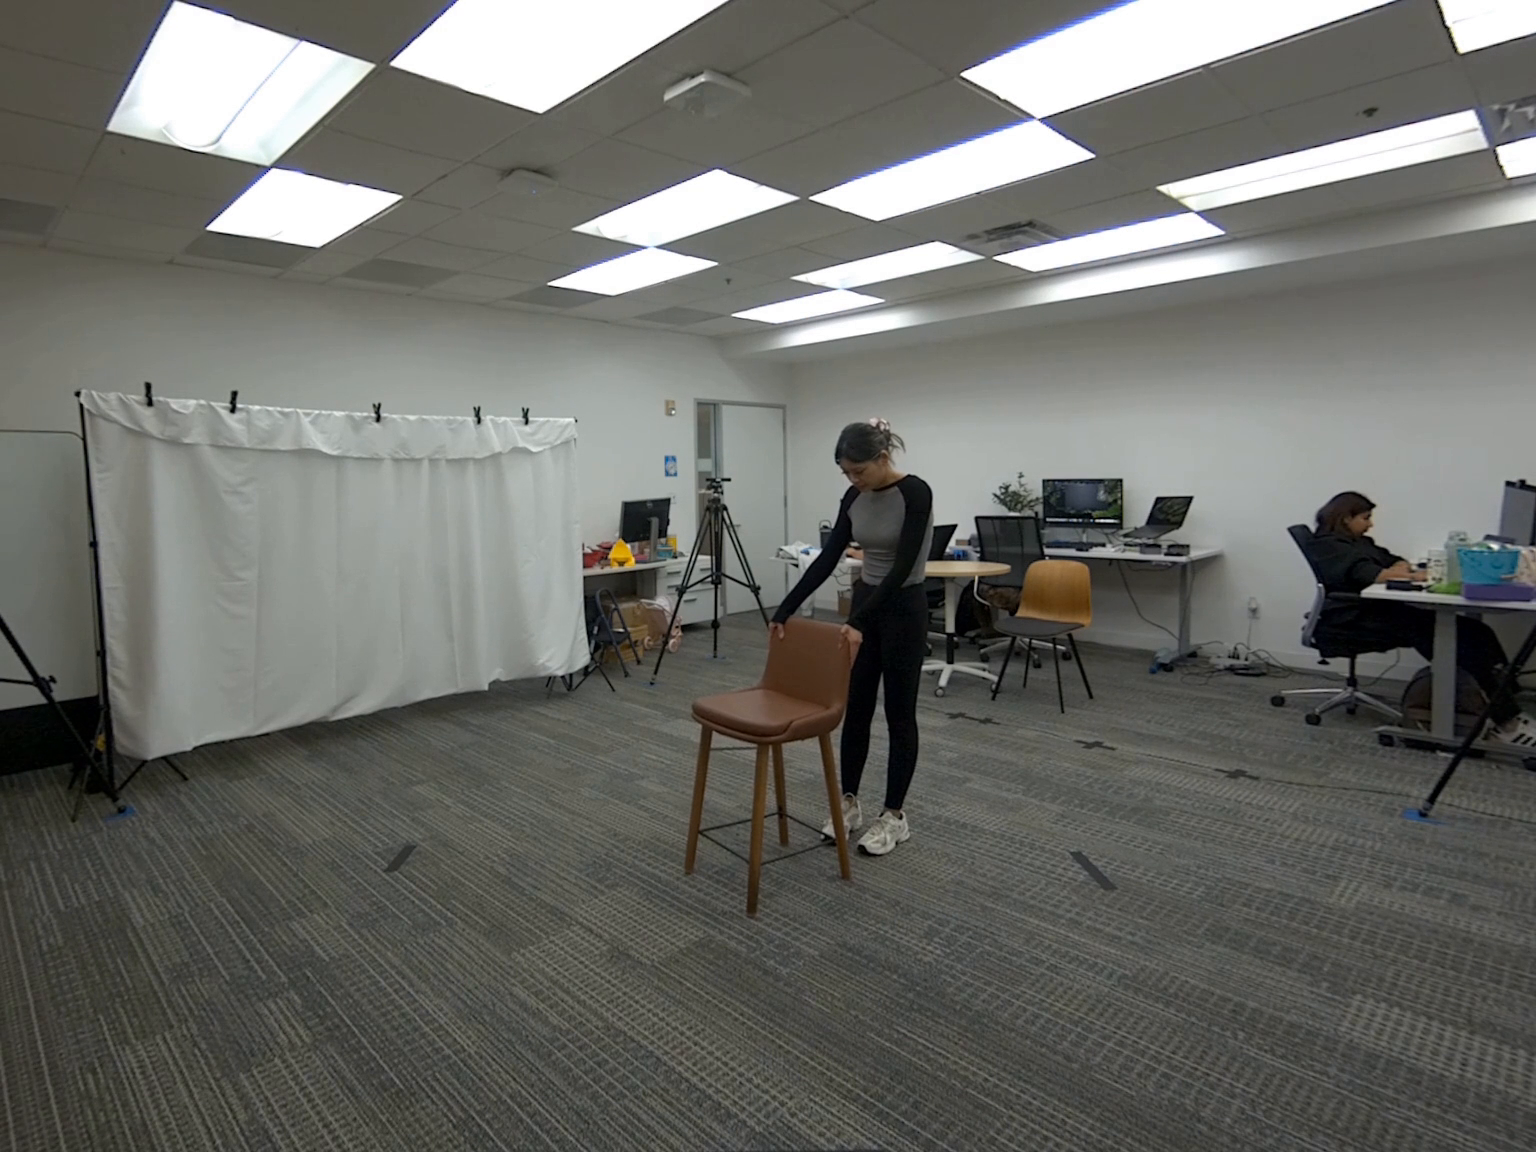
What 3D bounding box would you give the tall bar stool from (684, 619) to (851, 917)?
[{"bbox_3d":[0.014,0.614,2.980,0.455,0.889,0.470,1,2,-36],"label":"tall bar stool"}]
